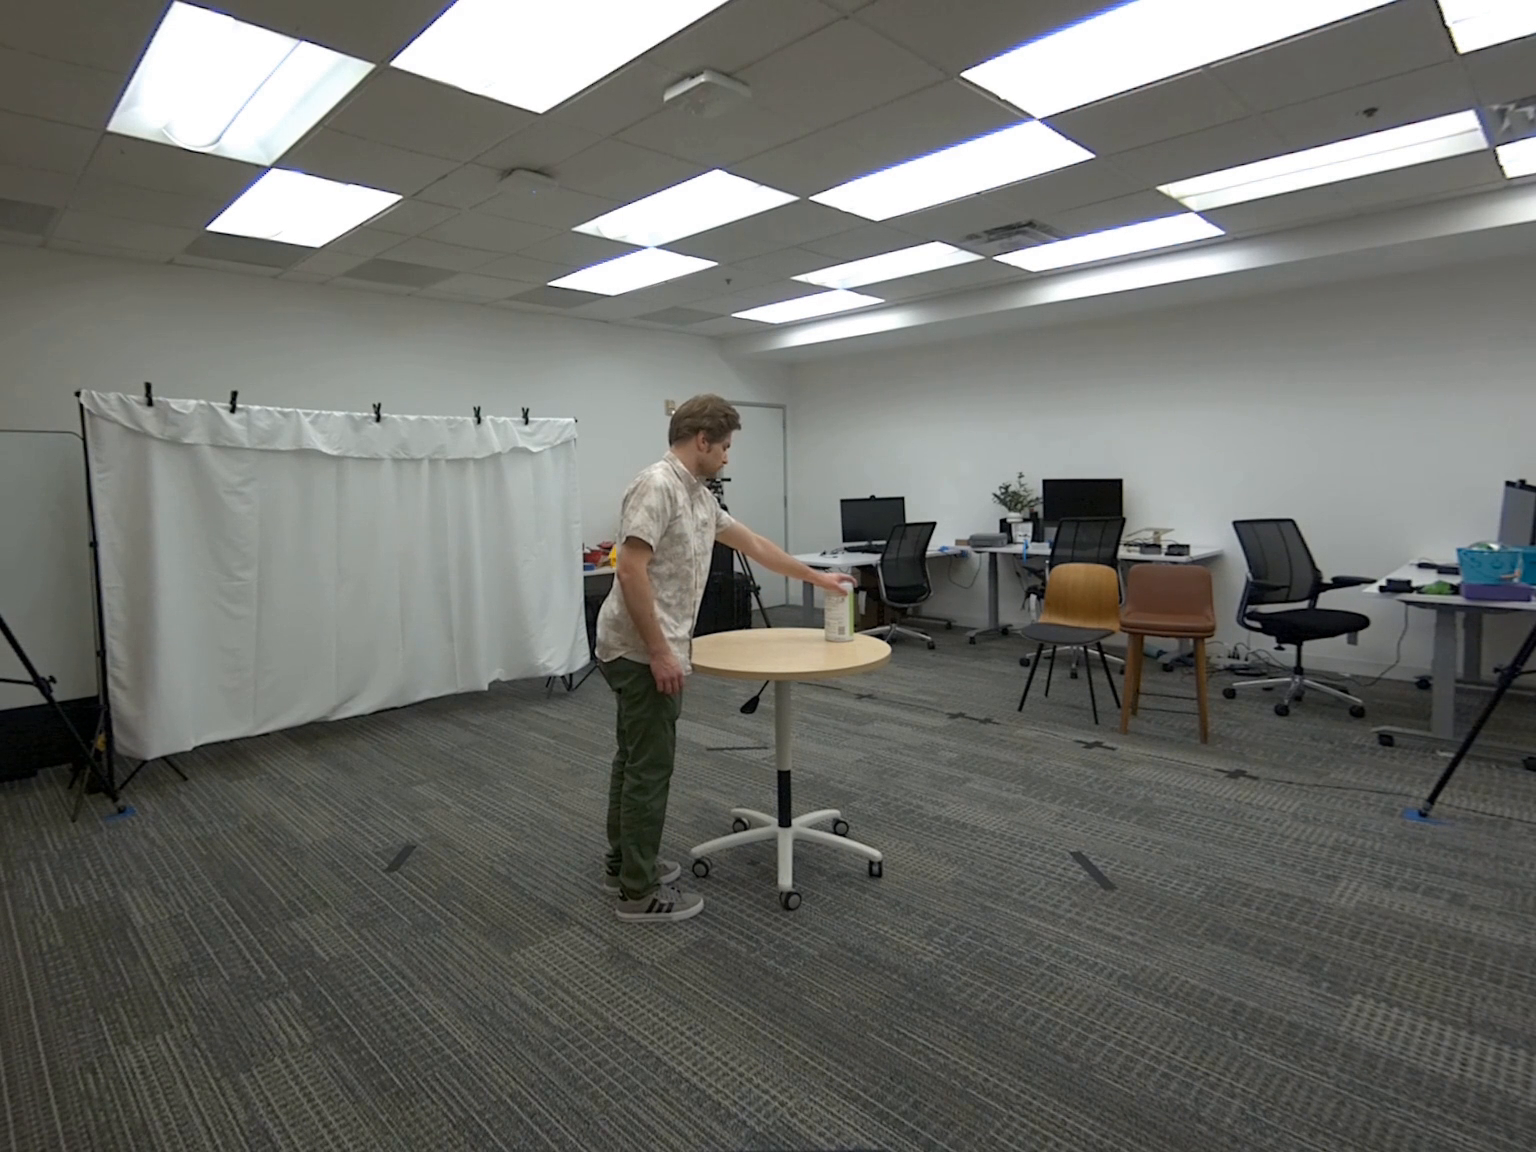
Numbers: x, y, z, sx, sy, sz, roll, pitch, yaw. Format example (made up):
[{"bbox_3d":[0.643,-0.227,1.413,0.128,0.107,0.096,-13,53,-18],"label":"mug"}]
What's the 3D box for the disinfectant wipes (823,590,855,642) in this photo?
[{"bbox_3d":[0.264,0.130,3.165,0.118,0.217,0.118,-3,1,-2],"label":"disinfectant wipes"}]
